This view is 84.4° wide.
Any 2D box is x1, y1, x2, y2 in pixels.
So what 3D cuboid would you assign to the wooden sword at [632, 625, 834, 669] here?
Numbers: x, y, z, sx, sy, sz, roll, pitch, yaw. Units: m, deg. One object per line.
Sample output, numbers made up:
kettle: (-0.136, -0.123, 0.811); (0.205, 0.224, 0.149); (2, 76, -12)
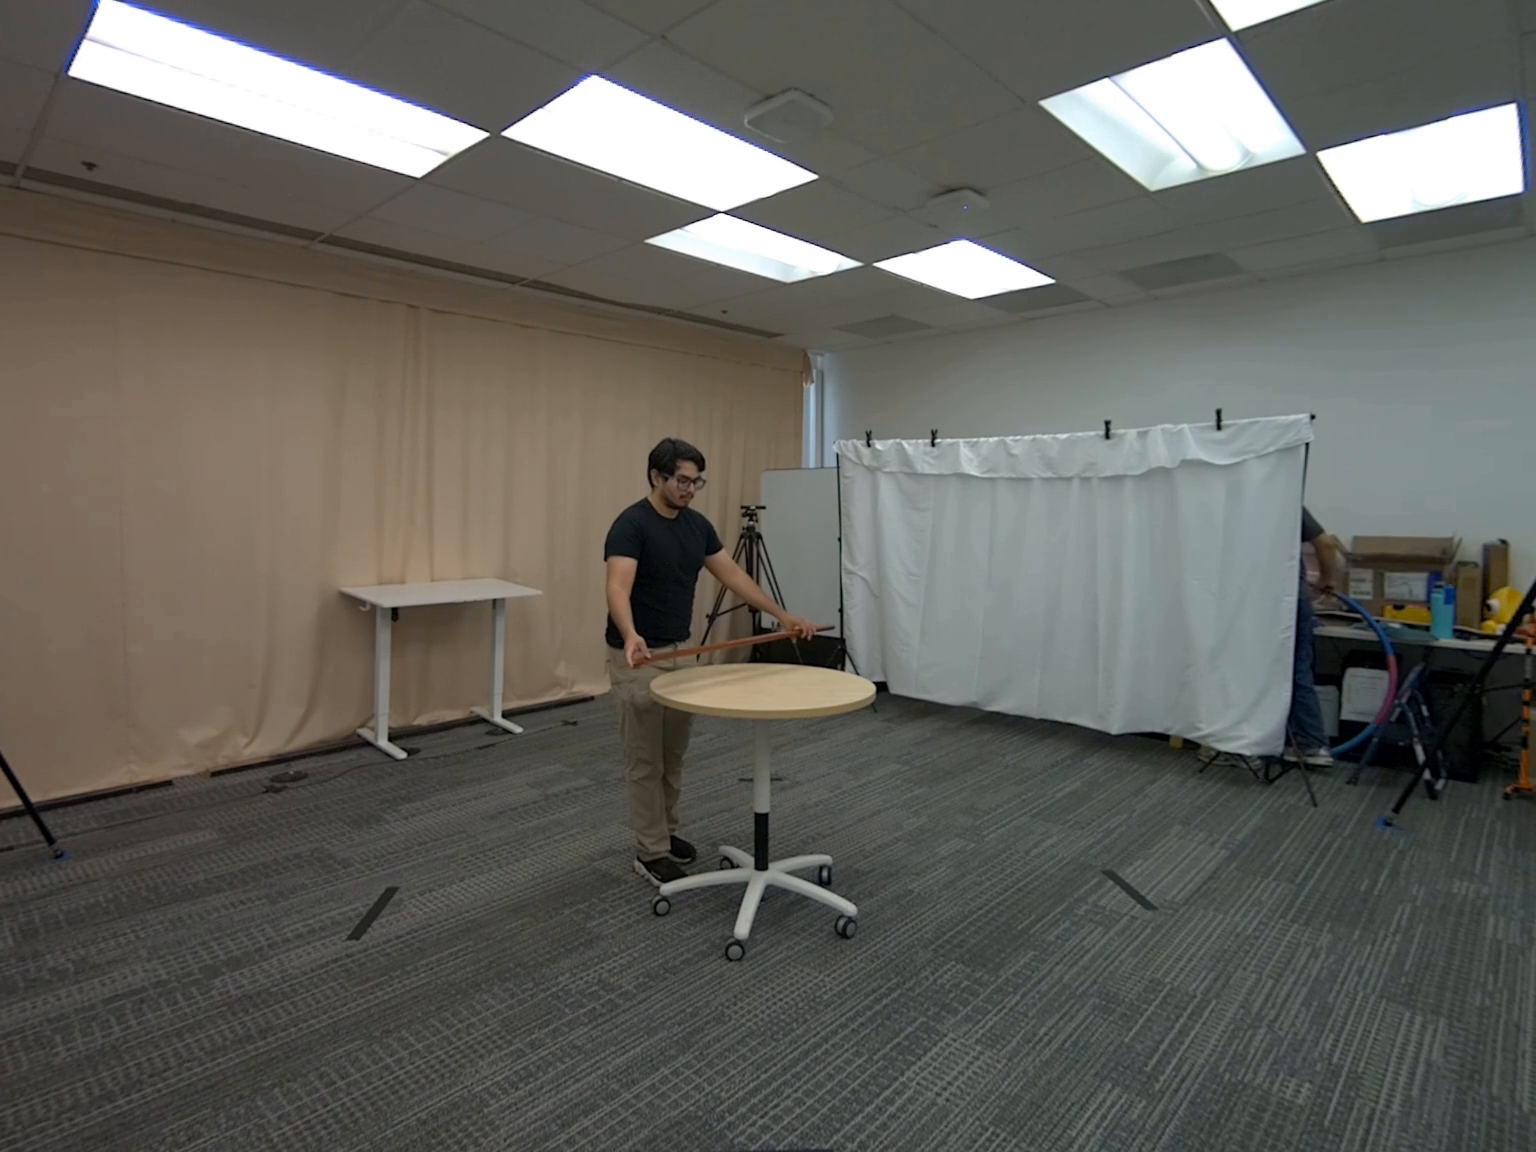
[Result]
wooden sword: (-0.059, 0.251, 3.026); (0.993, 0.051, 0.025); (-4, -3, -45)
